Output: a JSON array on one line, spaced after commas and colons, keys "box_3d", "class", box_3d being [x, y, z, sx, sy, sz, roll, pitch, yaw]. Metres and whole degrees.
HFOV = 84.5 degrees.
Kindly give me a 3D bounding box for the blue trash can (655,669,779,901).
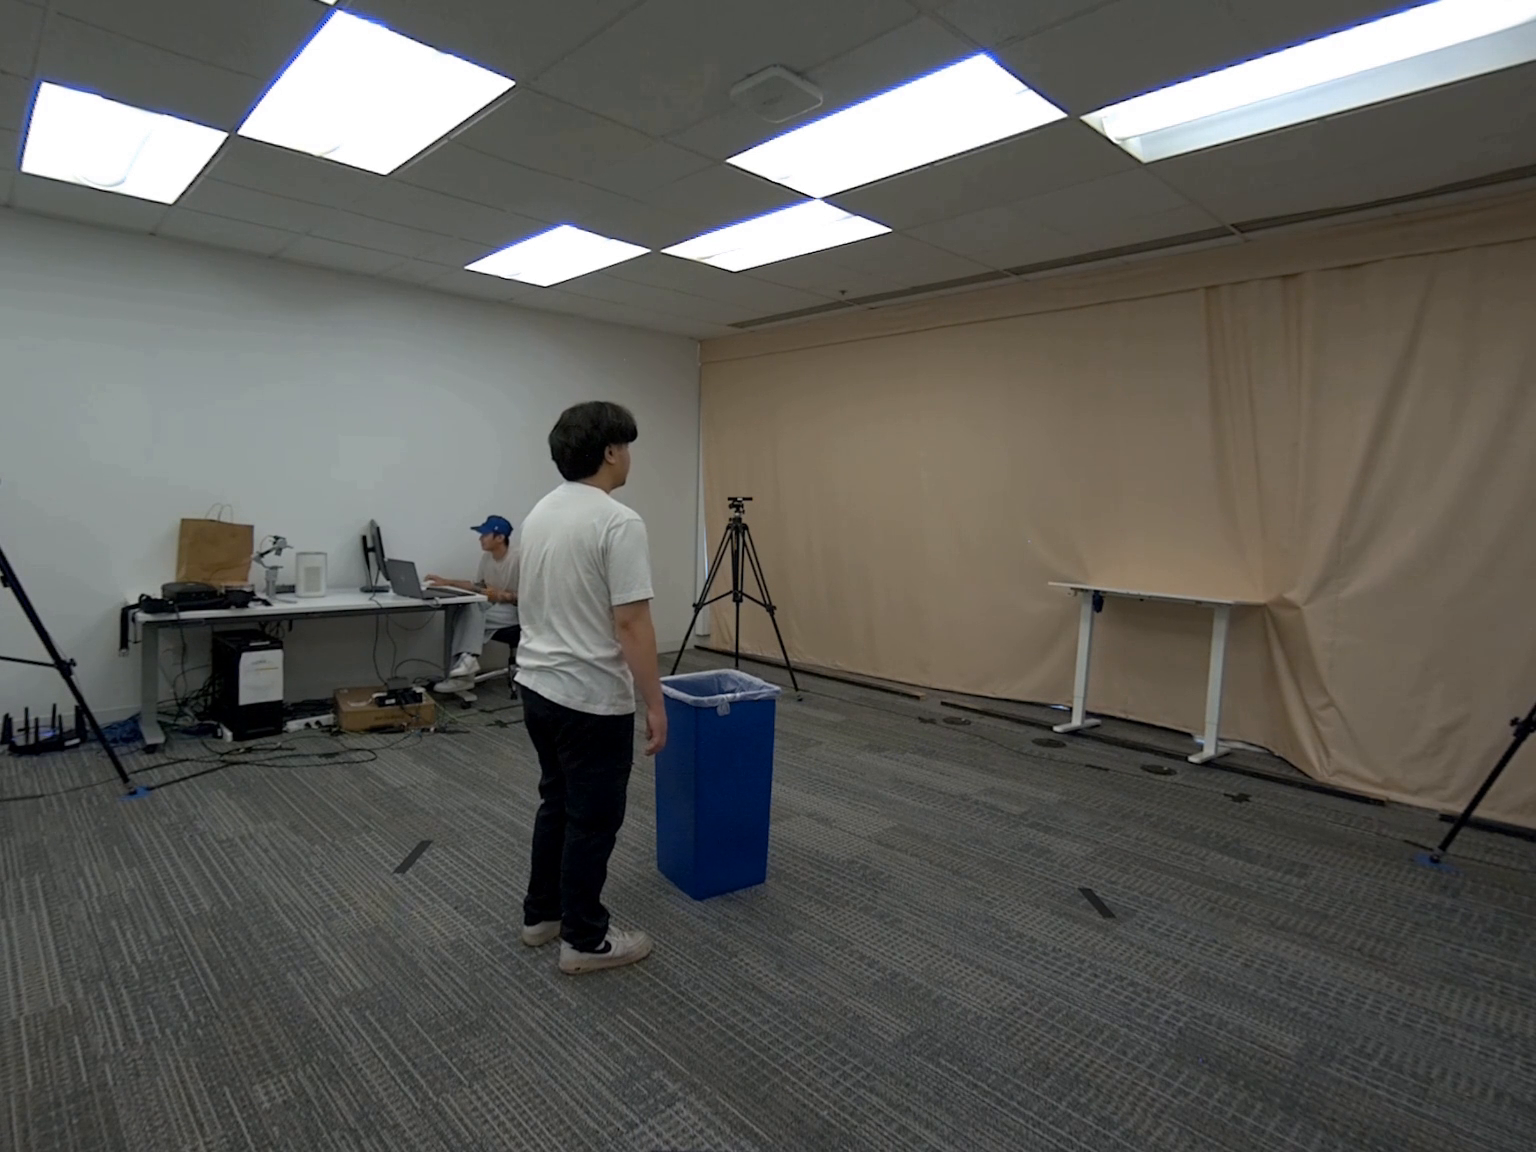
[{"box_3d": [-0.215, 0.748, 3.095, 0.370, 0.712, 0.383, -1, 4, -34], "class": "blue trash can"}]
